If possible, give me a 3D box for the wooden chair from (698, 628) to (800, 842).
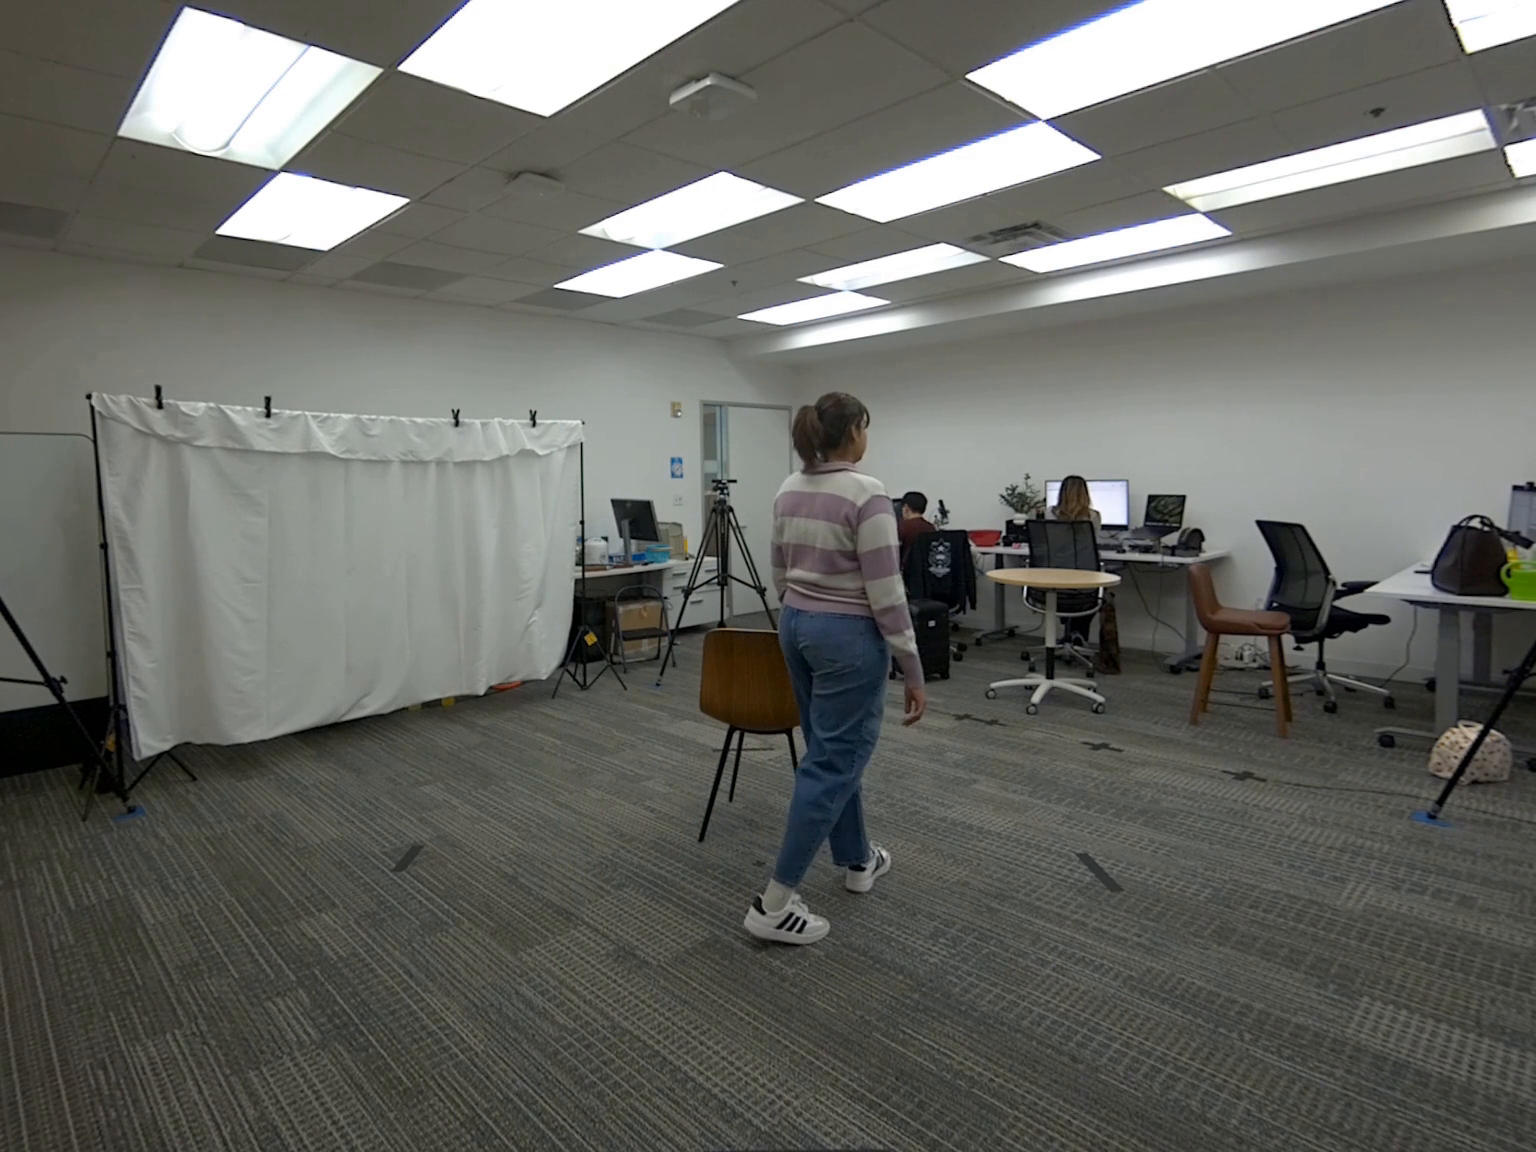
[{"bbox_3d":[-0.004,0.585,3.430,0.486,0.871,0.519,0,8,15],"label":"wooden chair"}]
